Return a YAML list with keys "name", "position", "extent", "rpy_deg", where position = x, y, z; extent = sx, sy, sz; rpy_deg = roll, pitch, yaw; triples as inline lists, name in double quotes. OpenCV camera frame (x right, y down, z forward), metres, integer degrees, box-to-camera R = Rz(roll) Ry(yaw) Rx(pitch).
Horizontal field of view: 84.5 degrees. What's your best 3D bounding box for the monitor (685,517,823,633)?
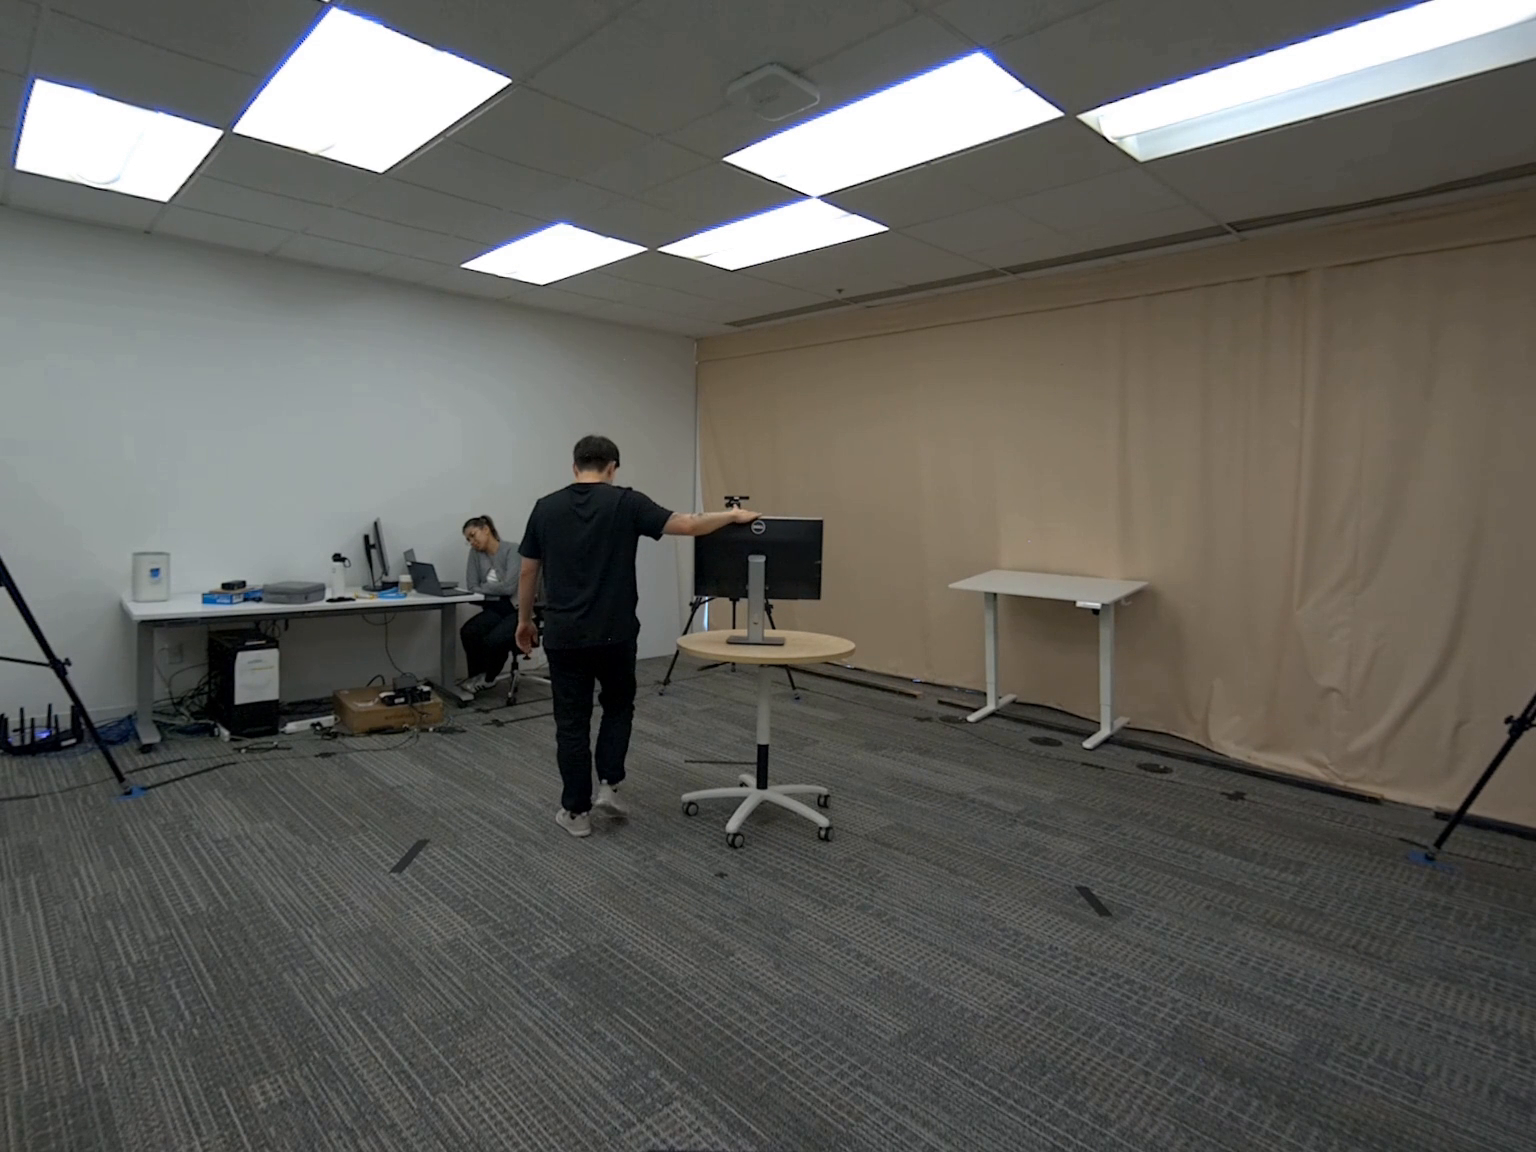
- name: "monitor"
  position: [-0.051, 0.017, 3.612]
  extent: [0.540, 0.522, 0.187]
  rpy_deg: [1, 1, 2]
